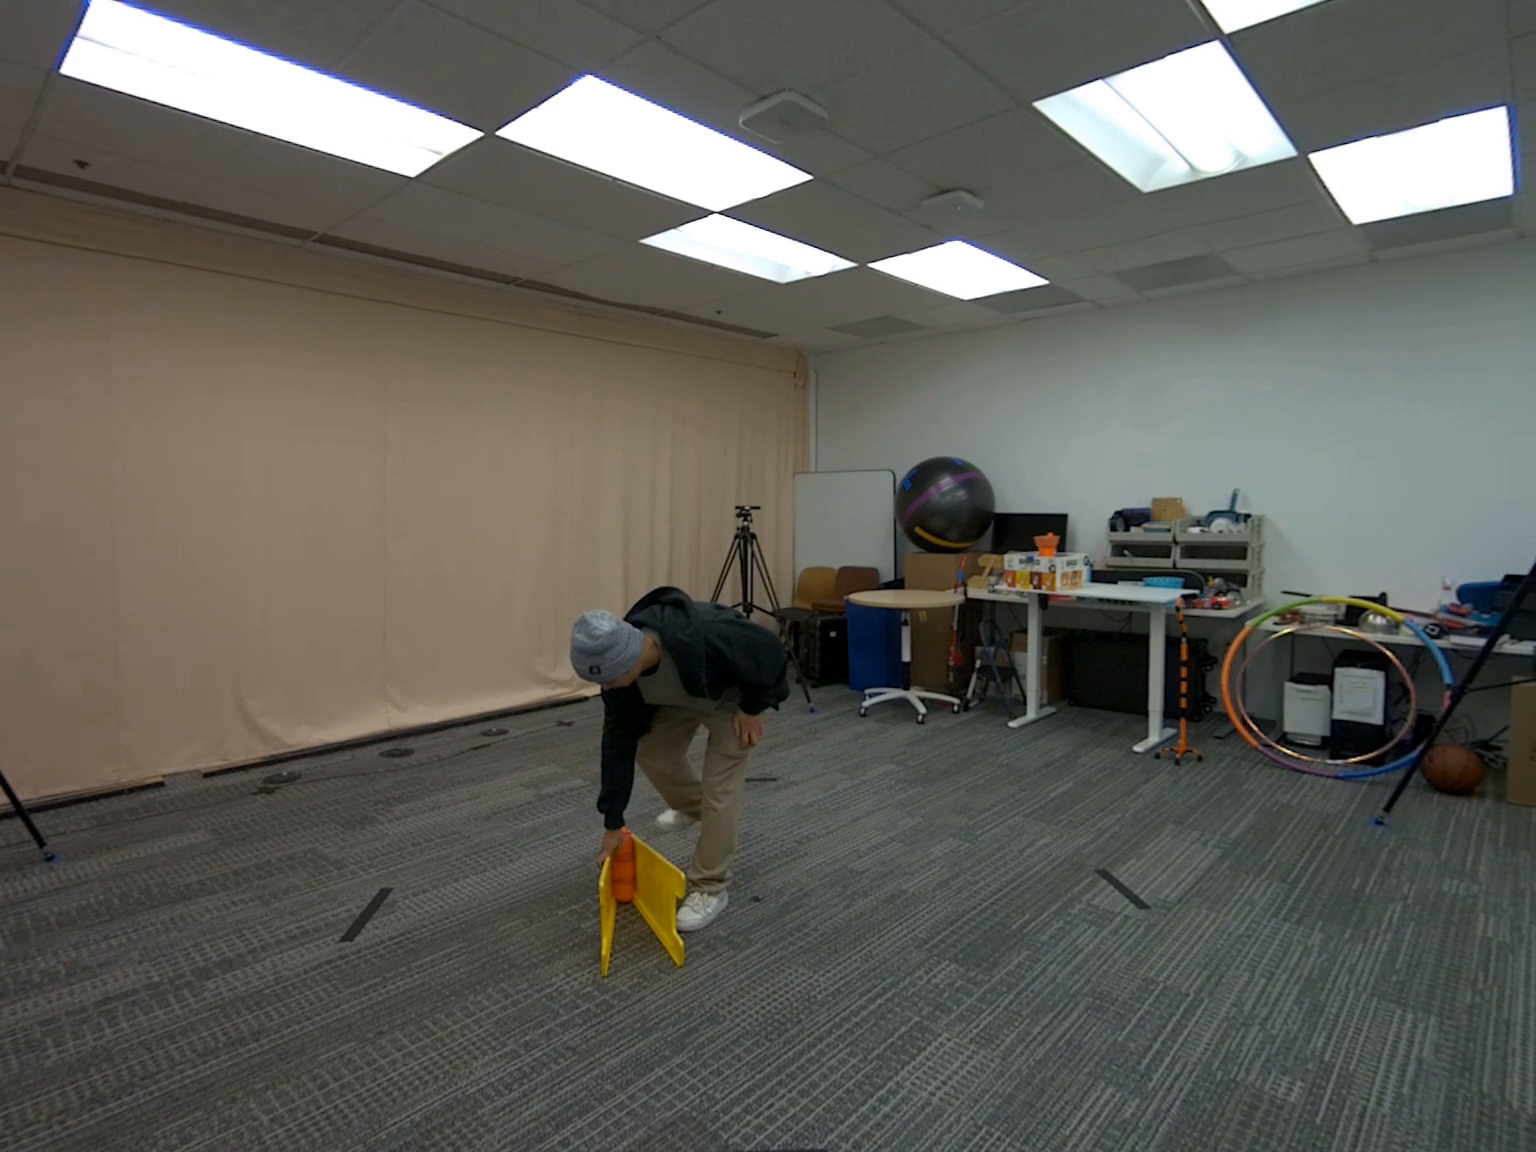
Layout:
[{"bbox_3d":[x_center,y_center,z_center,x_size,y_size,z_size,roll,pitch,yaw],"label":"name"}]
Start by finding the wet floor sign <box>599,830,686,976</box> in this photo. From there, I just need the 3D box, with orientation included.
[{"bbox_3d":[-0.474,1.034,2.820,0.285,0.282,0.656,-2,2,-16],"label":"wet floor sign"}]
